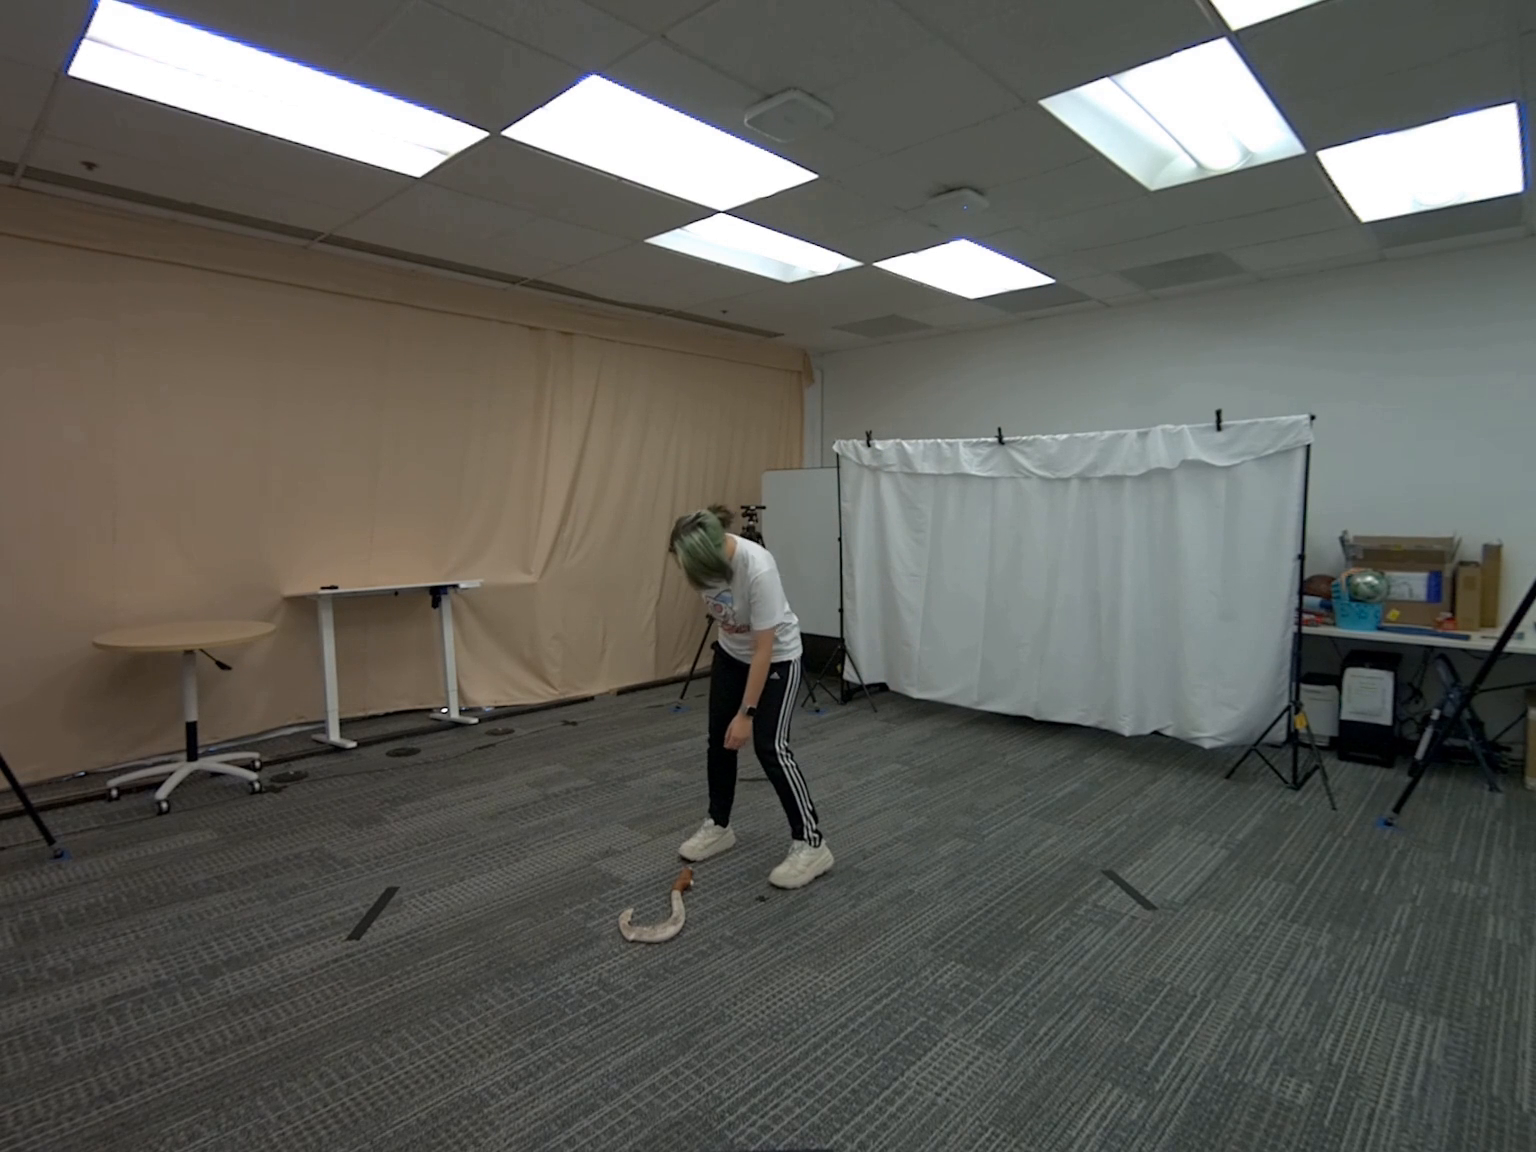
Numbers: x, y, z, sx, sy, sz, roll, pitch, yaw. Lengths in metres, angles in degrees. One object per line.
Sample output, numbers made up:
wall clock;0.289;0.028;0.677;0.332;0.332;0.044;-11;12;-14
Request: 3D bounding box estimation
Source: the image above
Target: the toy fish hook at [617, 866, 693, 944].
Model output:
toy fish hook;-0.377;1.132;2.918;0.226;0.048;0.504;2;5;6
